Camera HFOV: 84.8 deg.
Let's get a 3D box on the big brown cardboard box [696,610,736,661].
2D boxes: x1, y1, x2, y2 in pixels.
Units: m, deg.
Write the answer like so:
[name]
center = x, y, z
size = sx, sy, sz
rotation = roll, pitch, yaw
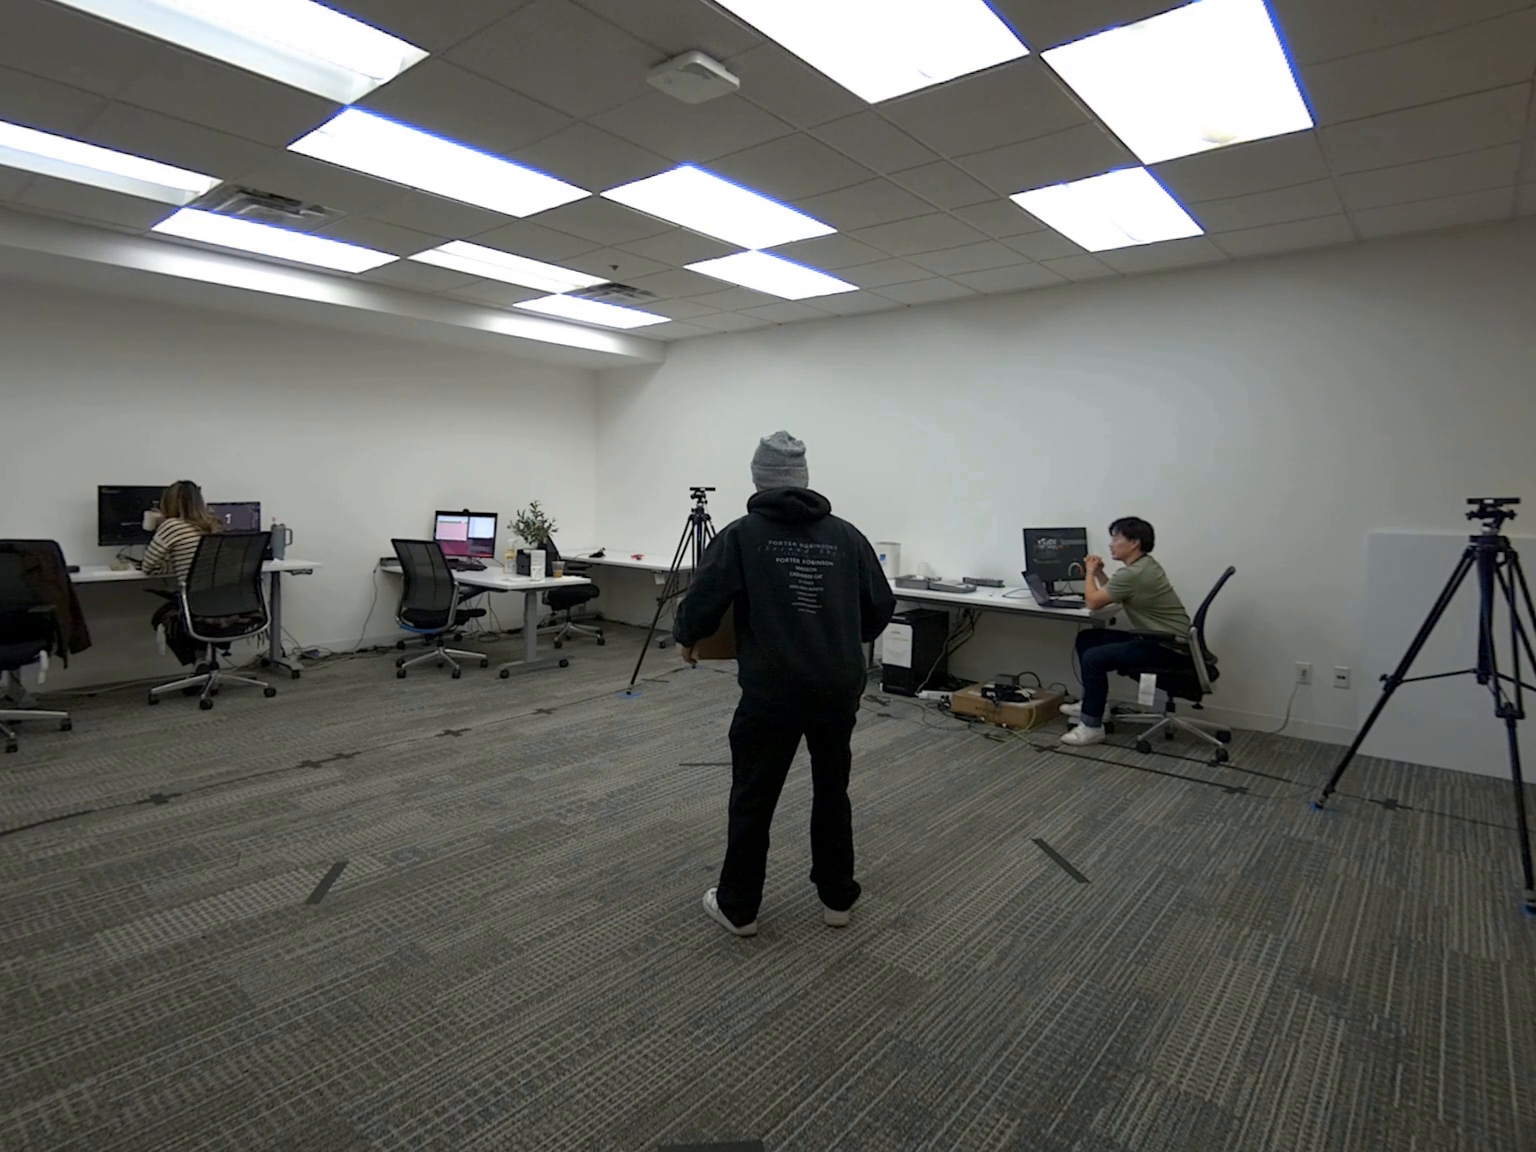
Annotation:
[big brown cardboard box]
center = -0.022, 0.191, 3.104
size = 0.581, 0.234, 0.421
rotation = 2, -4, -12
